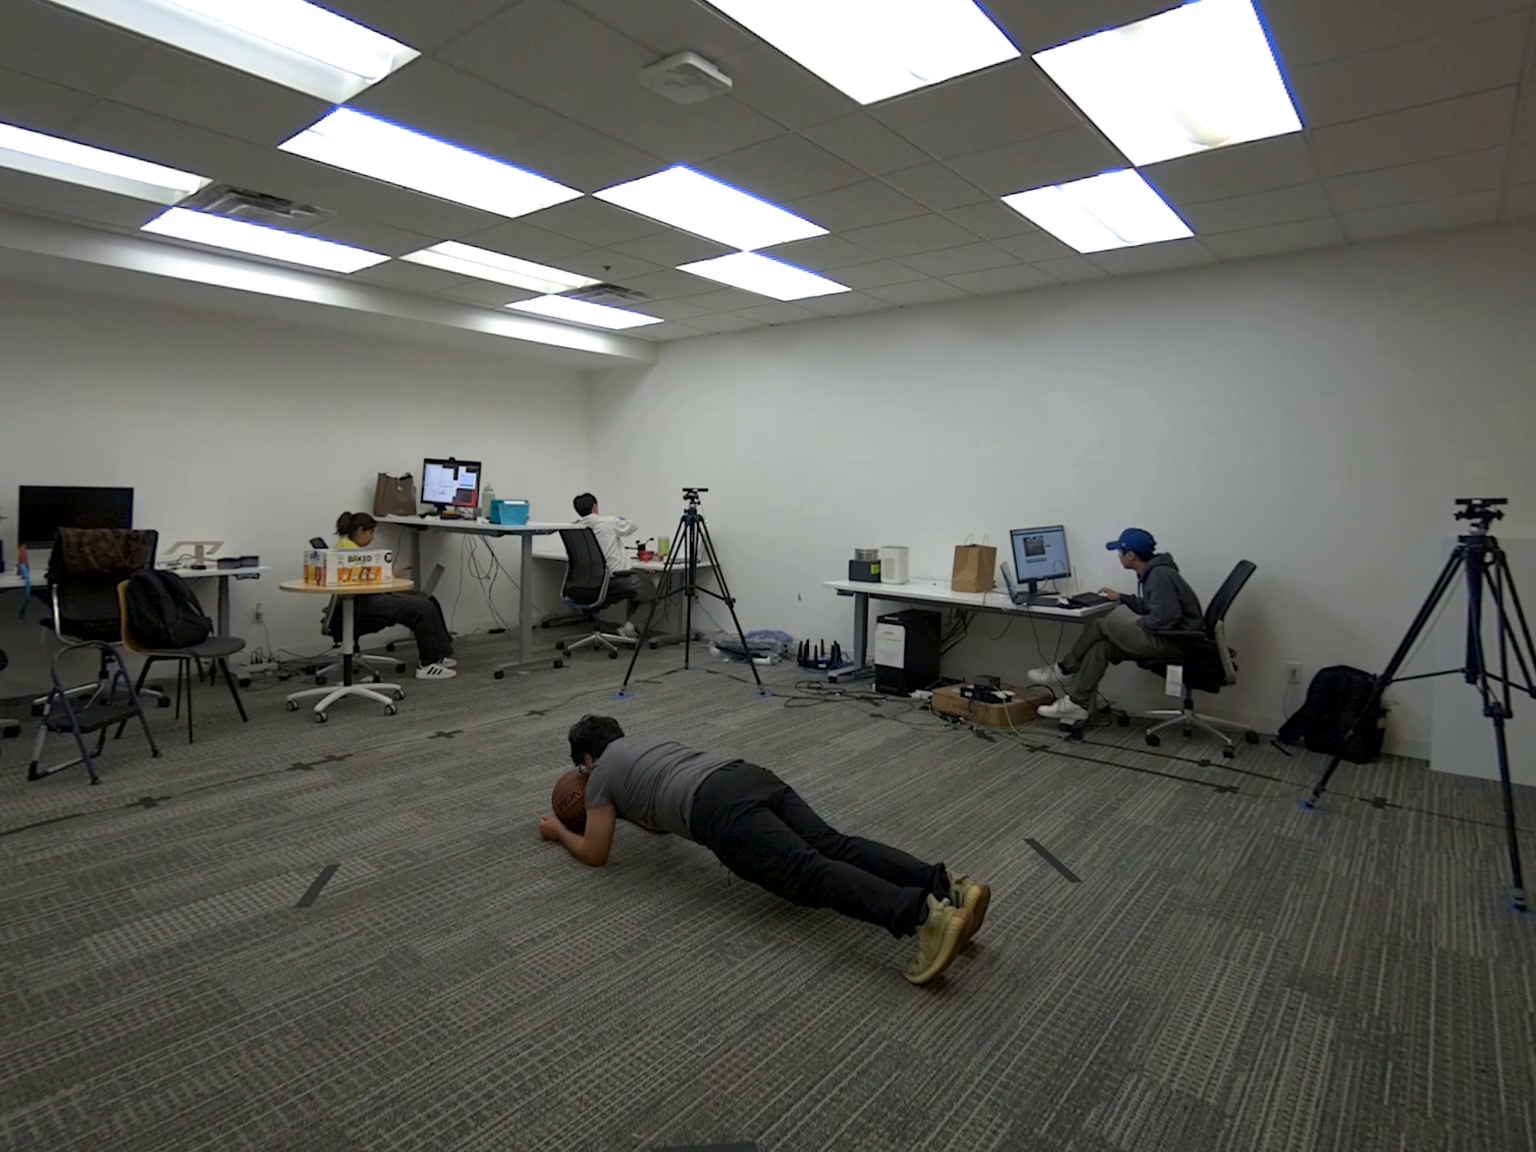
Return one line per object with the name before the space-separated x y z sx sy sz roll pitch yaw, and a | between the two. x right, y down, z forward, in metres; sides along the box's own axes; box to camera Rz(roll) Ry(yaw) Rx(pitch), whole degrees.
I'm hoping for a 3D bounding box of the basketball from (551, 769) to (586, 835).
basketball | -0.776 0.904 3.468 0.235 0.235 0.237 1 4 -2
